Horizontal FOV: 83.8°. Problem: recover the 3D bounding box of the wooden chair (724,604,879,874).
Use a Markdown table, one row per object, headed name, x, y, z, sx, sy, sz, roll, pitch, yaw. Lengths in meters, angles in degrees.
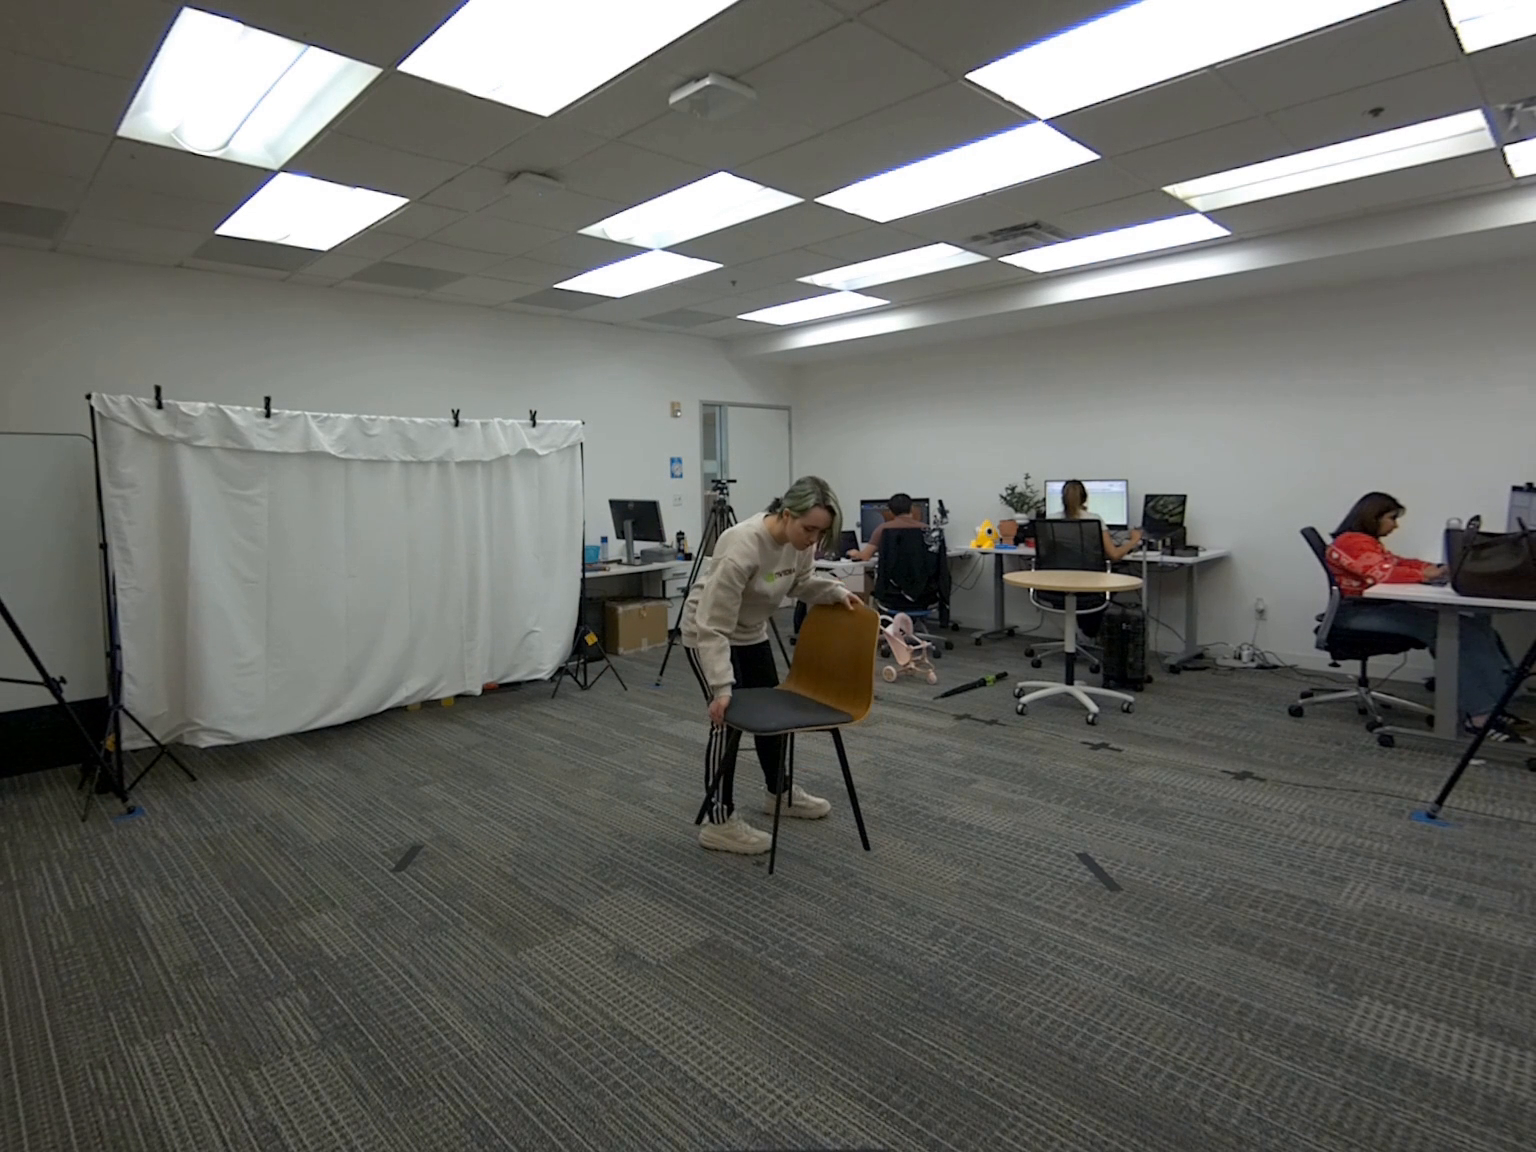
| name | x | y | z | sx | sy | sz | roll | pitch | yaw |
| --- | --- | --- | --- | --- | --- | --- | --- | --- | --- |
| wooden chair | 0.083 | 0.526 | 3.034 | 0.507 | 0.877 | 0.493 | 7 | 1 | -38 |
